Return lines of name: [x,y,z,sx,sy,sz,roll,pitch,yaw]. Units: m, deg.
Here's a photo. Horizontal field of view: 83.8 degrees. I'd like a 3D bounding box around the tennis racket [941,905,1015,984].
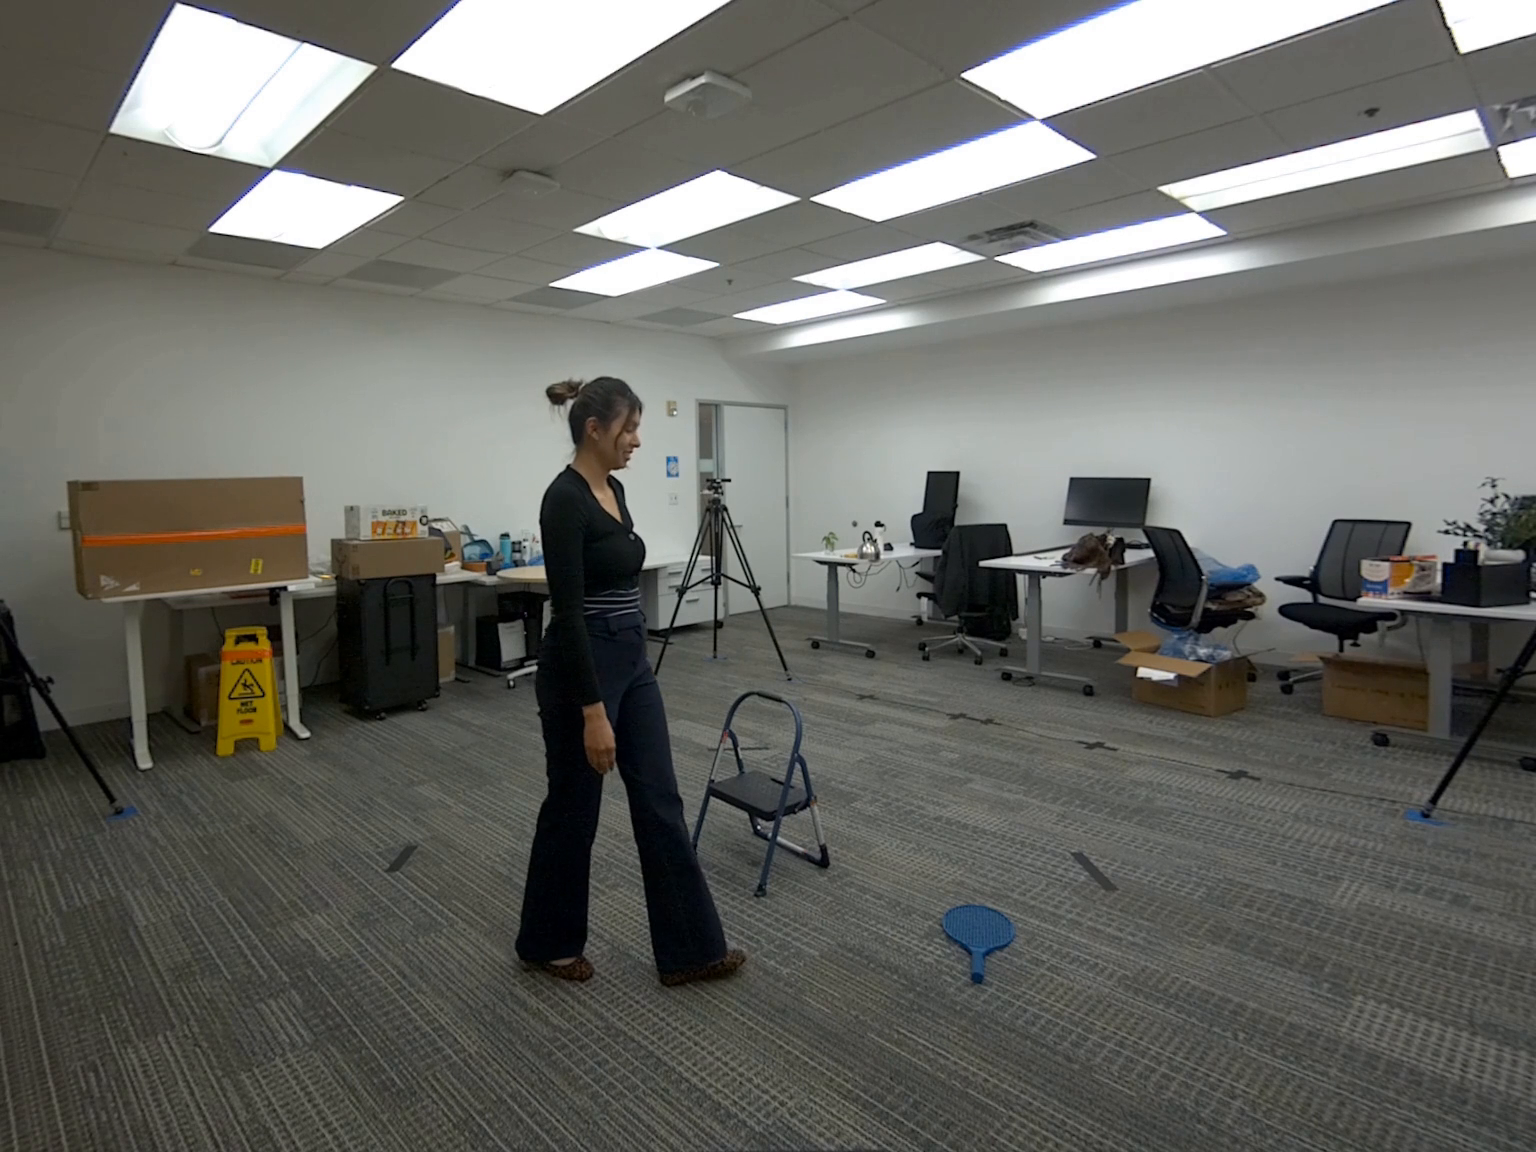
tennis racket: [0.631,1.083,2.550,0.217,0.031,0.429,1,6,12]
